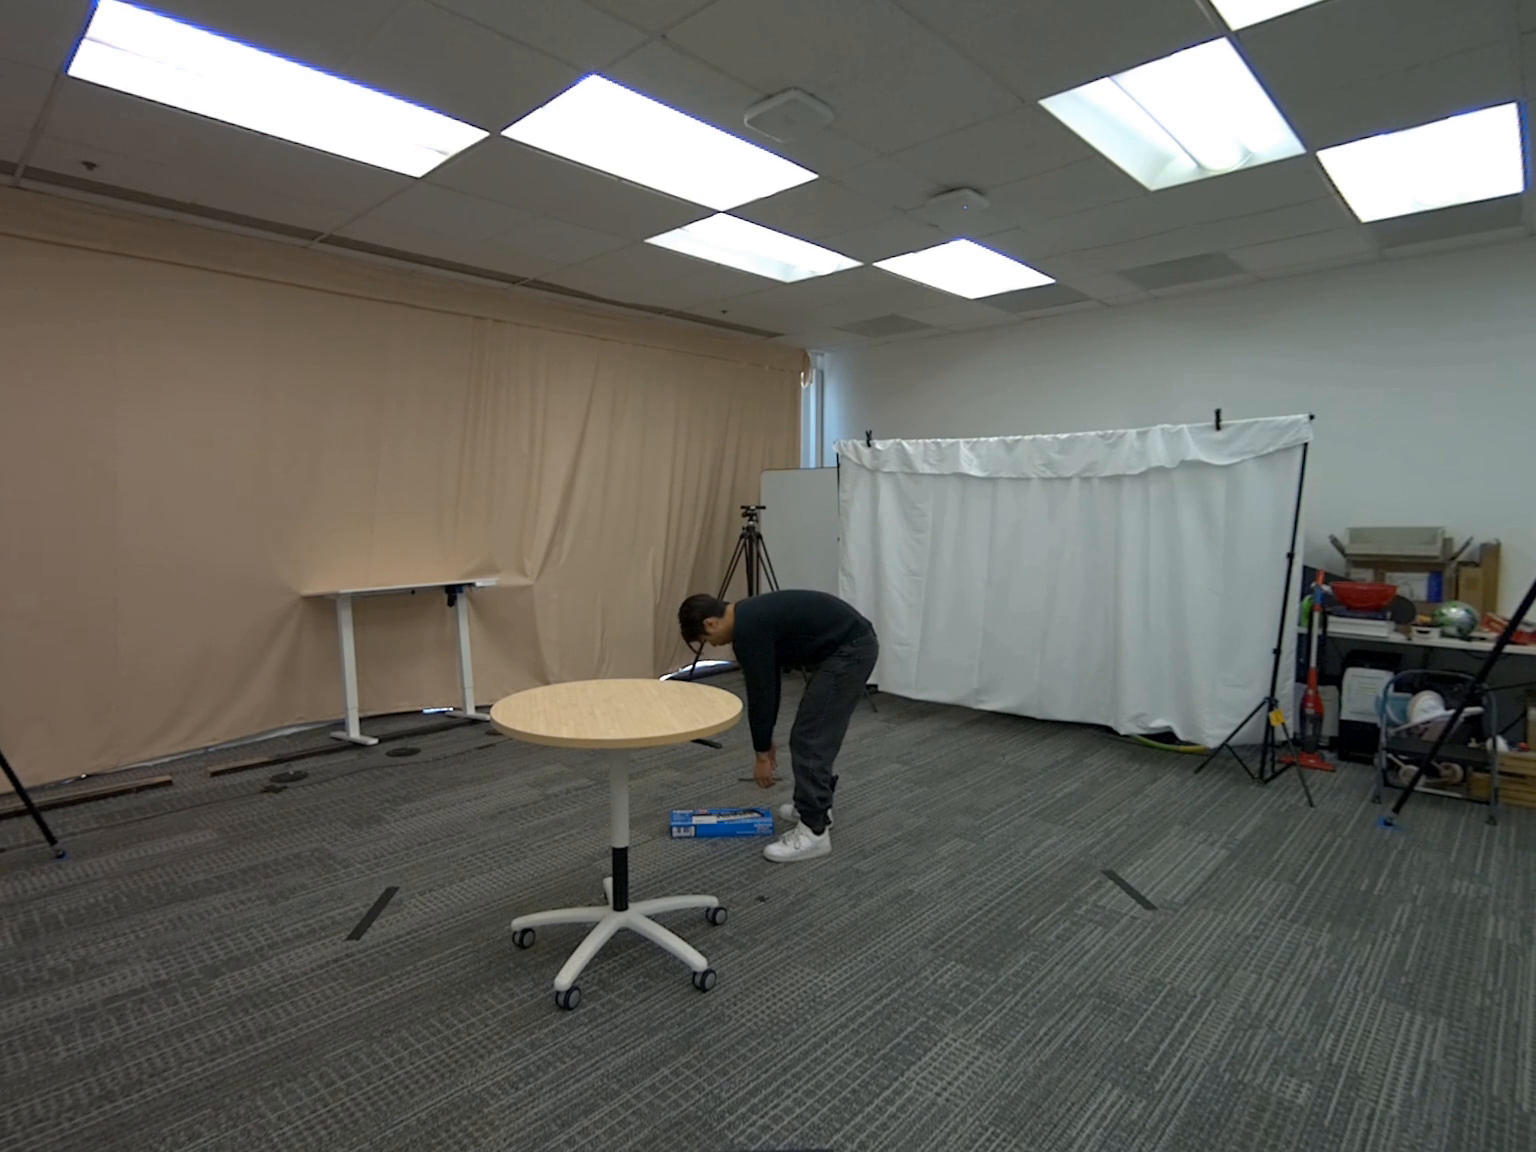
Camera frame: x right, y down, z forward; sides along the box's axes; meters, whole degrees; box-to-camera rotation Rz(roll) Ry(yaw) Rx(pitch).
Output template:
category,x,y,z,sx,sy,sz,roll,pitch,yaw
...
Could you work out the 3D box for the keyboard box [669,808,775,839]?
category,x,y,z,sx,sy,sz,roll,pitch,yaw
keyboard box,-0.202,1.063,3.624,0.435,0.059,0.177,0,4,-4
